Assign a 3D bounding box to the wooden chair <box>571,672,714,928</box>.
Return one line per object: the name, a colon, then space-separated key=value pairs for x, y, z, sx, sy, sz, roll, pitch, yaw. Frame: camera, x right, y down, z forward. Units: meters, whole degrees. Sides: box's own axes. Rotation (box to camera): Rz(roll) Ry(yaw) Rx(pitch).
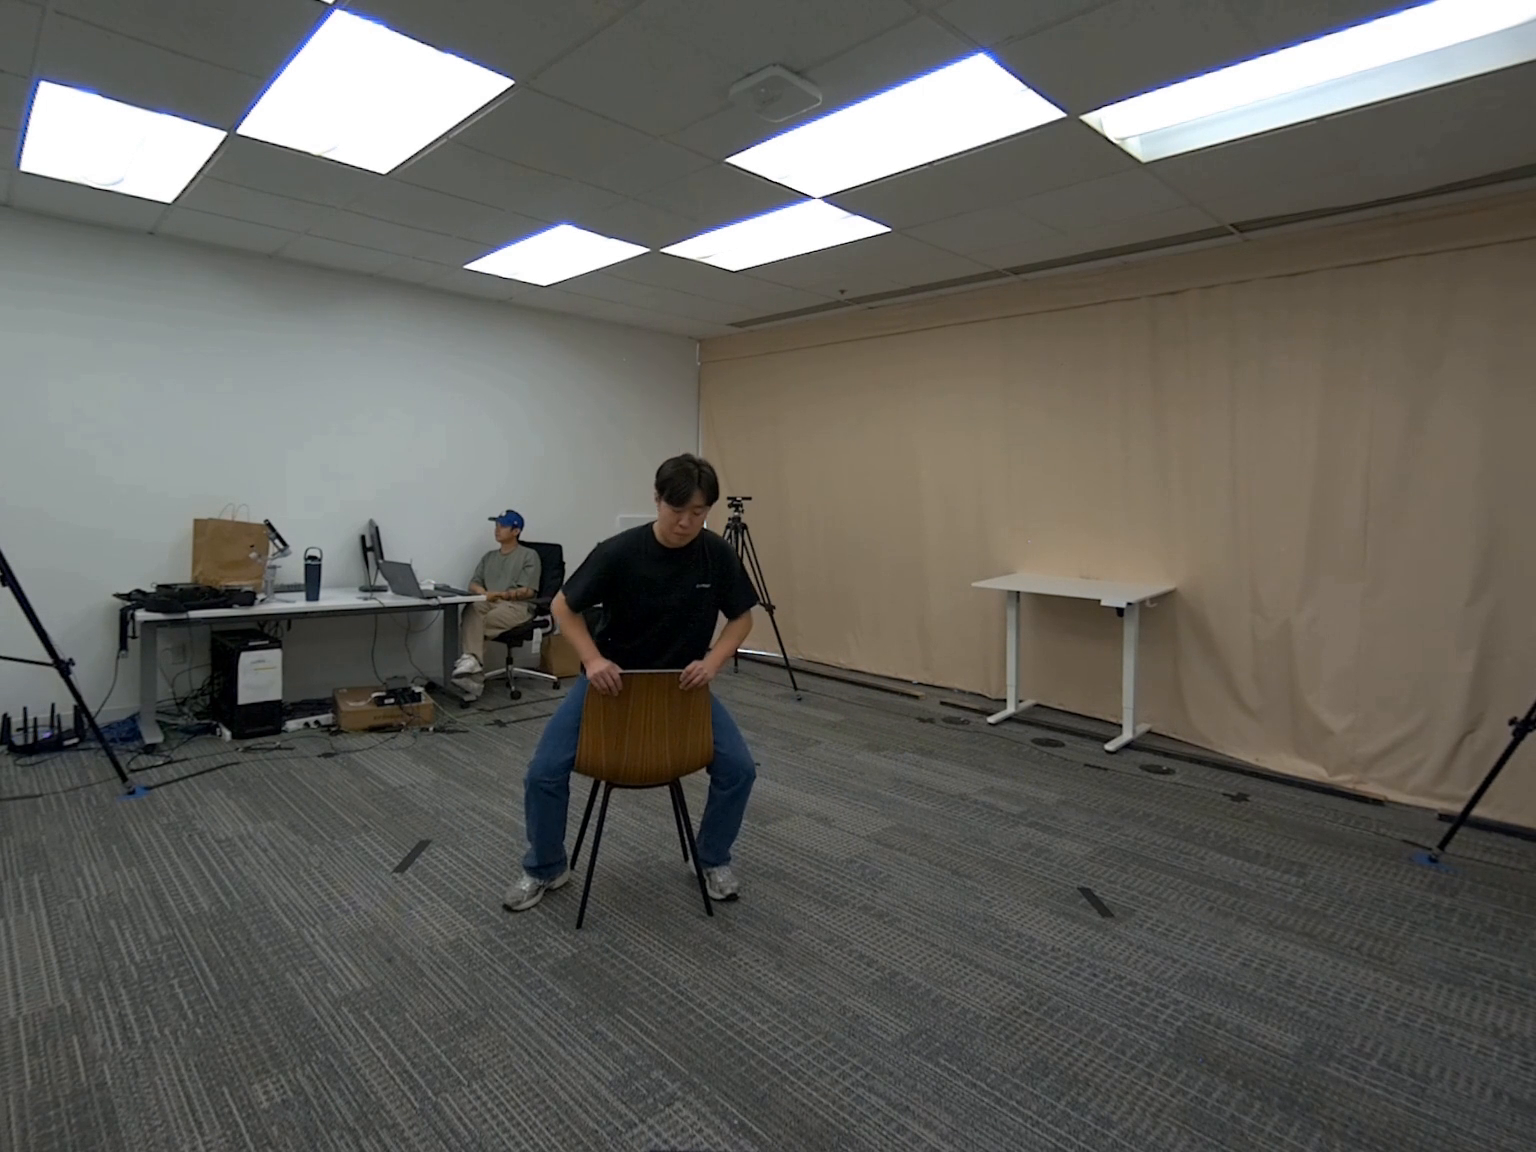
wooden chair: x=-0.458 y=0.691 z=2.937 sx=0.472 sy=0.873 sz=0.532 roll=0 pitch=8 yaw=-15
